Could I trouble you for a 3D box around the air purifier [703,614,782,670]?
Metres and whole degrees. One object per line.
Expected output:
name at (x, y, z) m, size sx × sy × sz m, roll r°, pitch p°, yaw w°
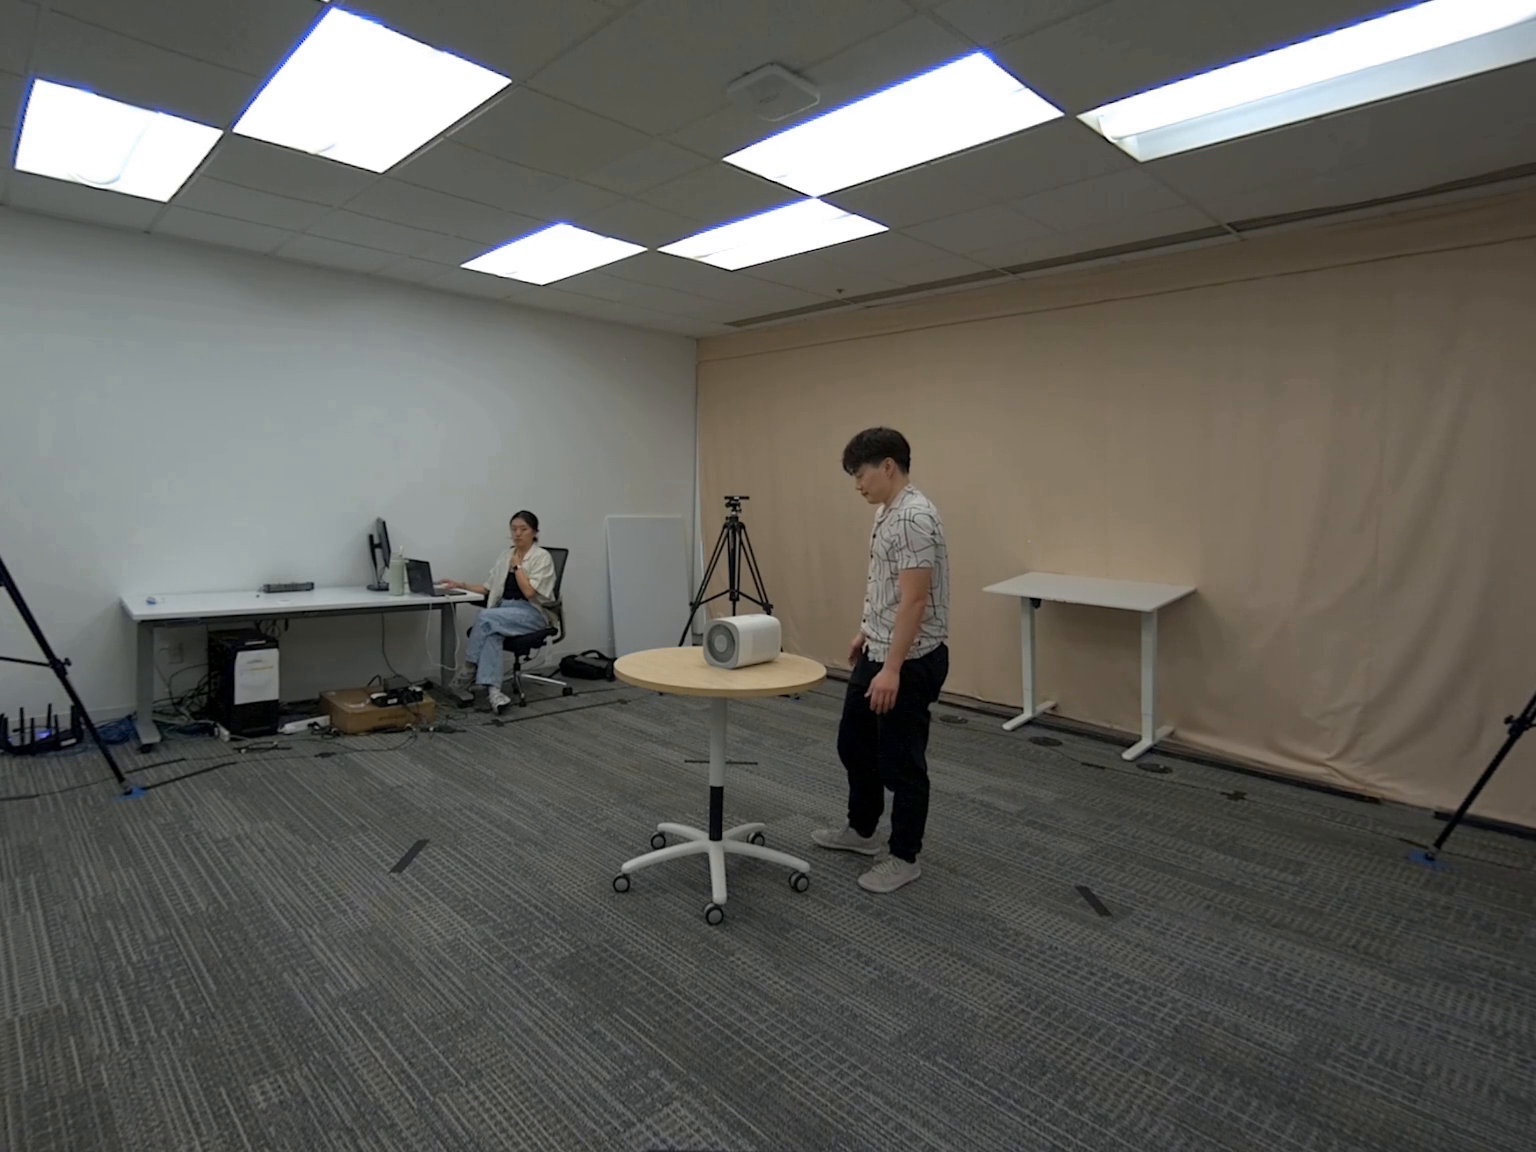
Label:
air purifier at (-0.093, 0.230, 3.103) m, size 0.175 × 0.171 × 0.259 m, roll 4°, pitch 5°, yaw 39°
